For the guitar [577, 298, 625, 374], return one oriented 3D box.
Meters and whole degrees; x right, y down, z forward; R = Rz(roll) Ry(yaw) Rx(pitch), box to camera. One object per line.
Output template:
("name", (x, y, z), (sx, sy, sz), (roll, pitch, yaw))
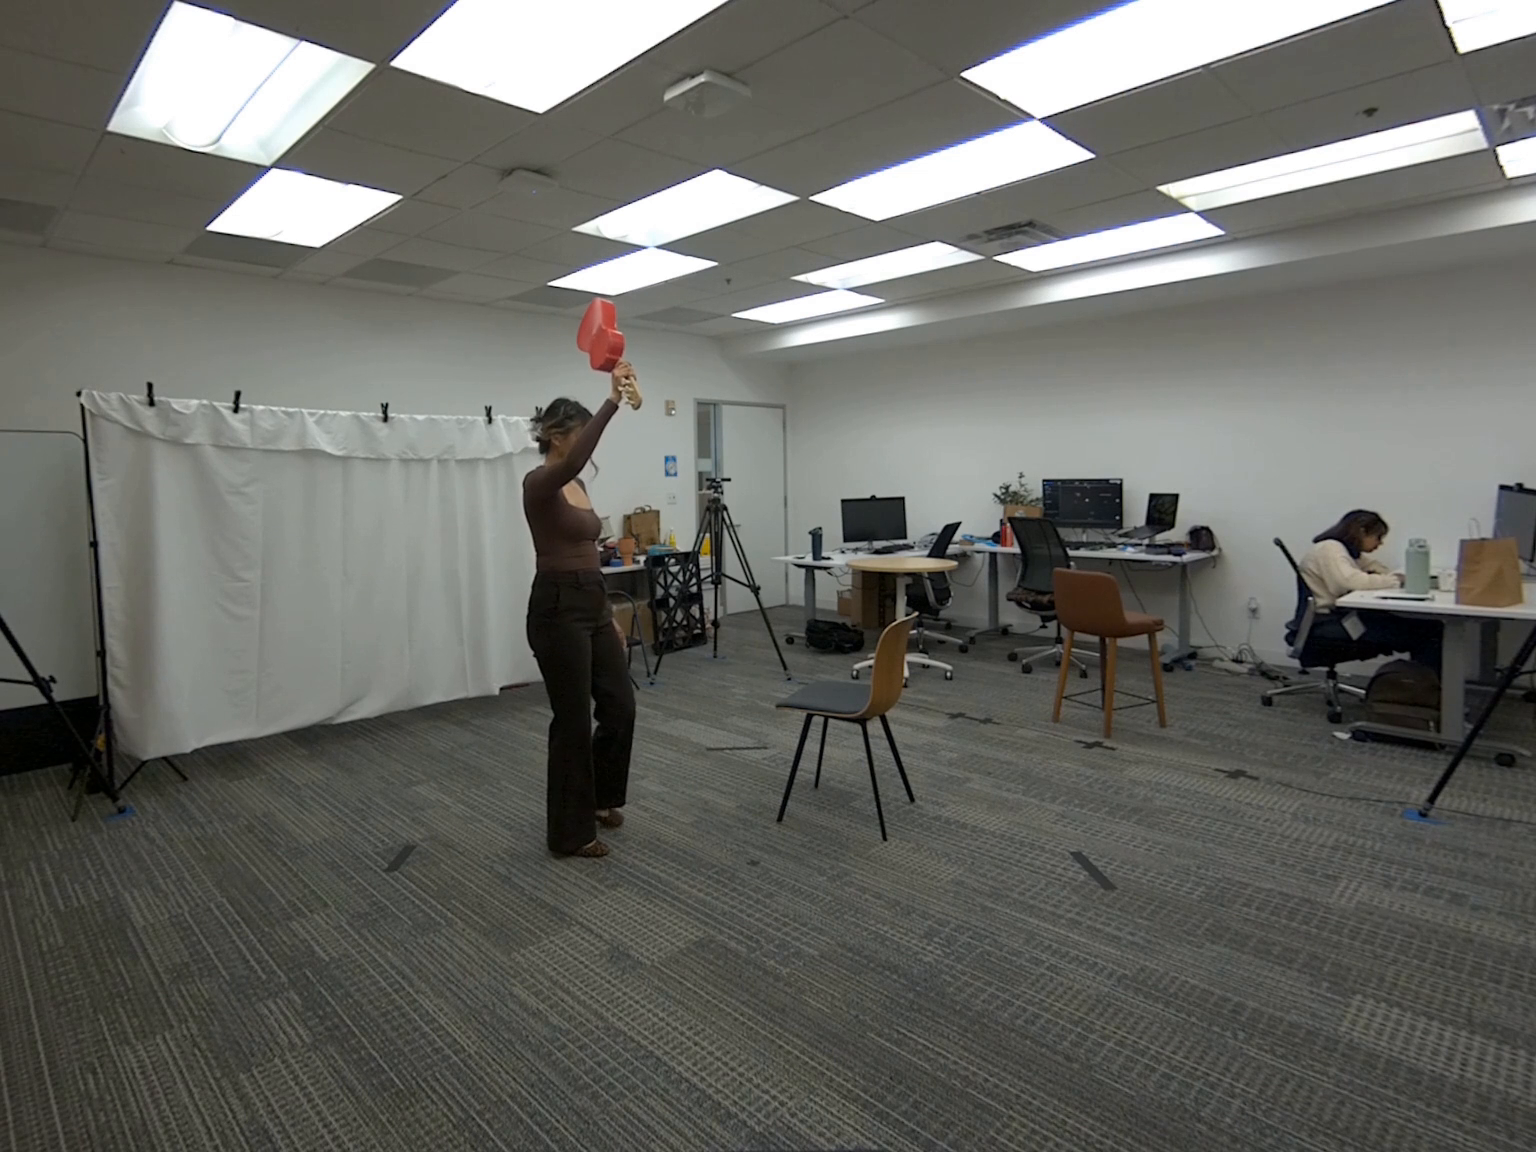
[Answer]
("guitar", (-0.514, -0.752, 2.864), (0.068, 0.191, 0.517), (8, 34, -38))
